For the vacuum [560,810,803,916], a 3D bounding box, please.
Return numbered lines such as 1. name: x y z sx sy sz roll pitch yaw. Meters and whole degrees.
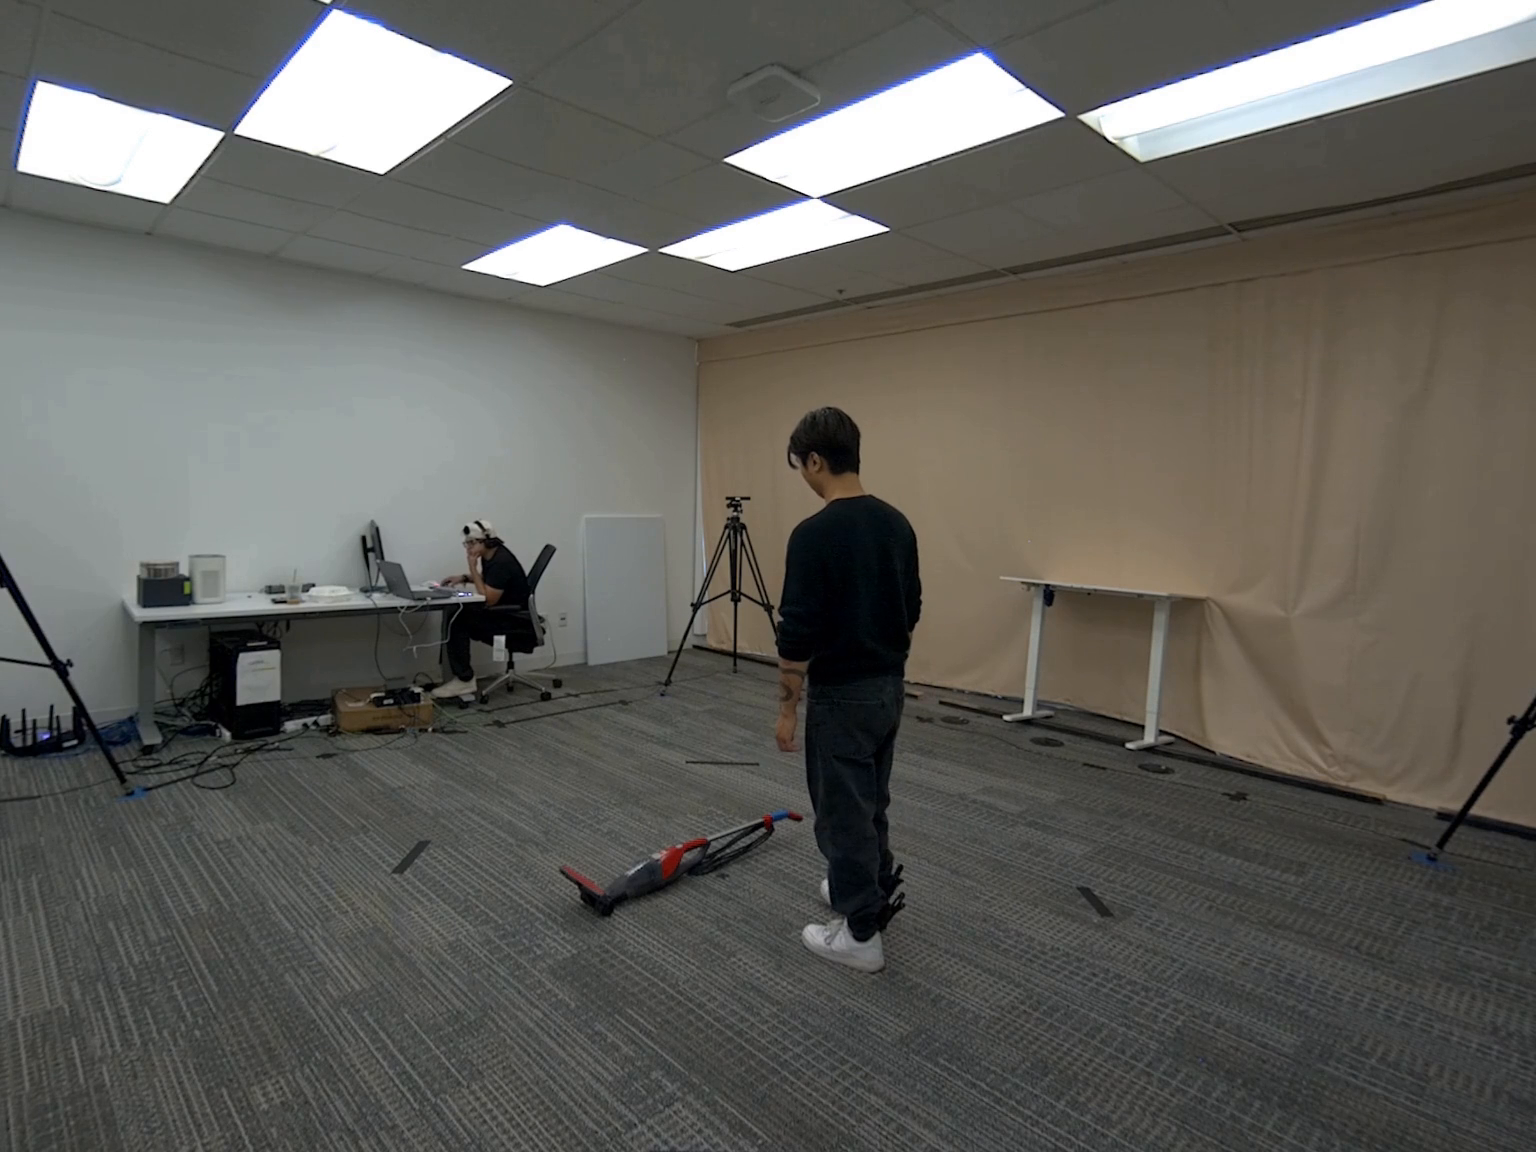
1. vacuum: -0.244 1.042 3.155 1.025 0.143 0.259 -2 8 -44
